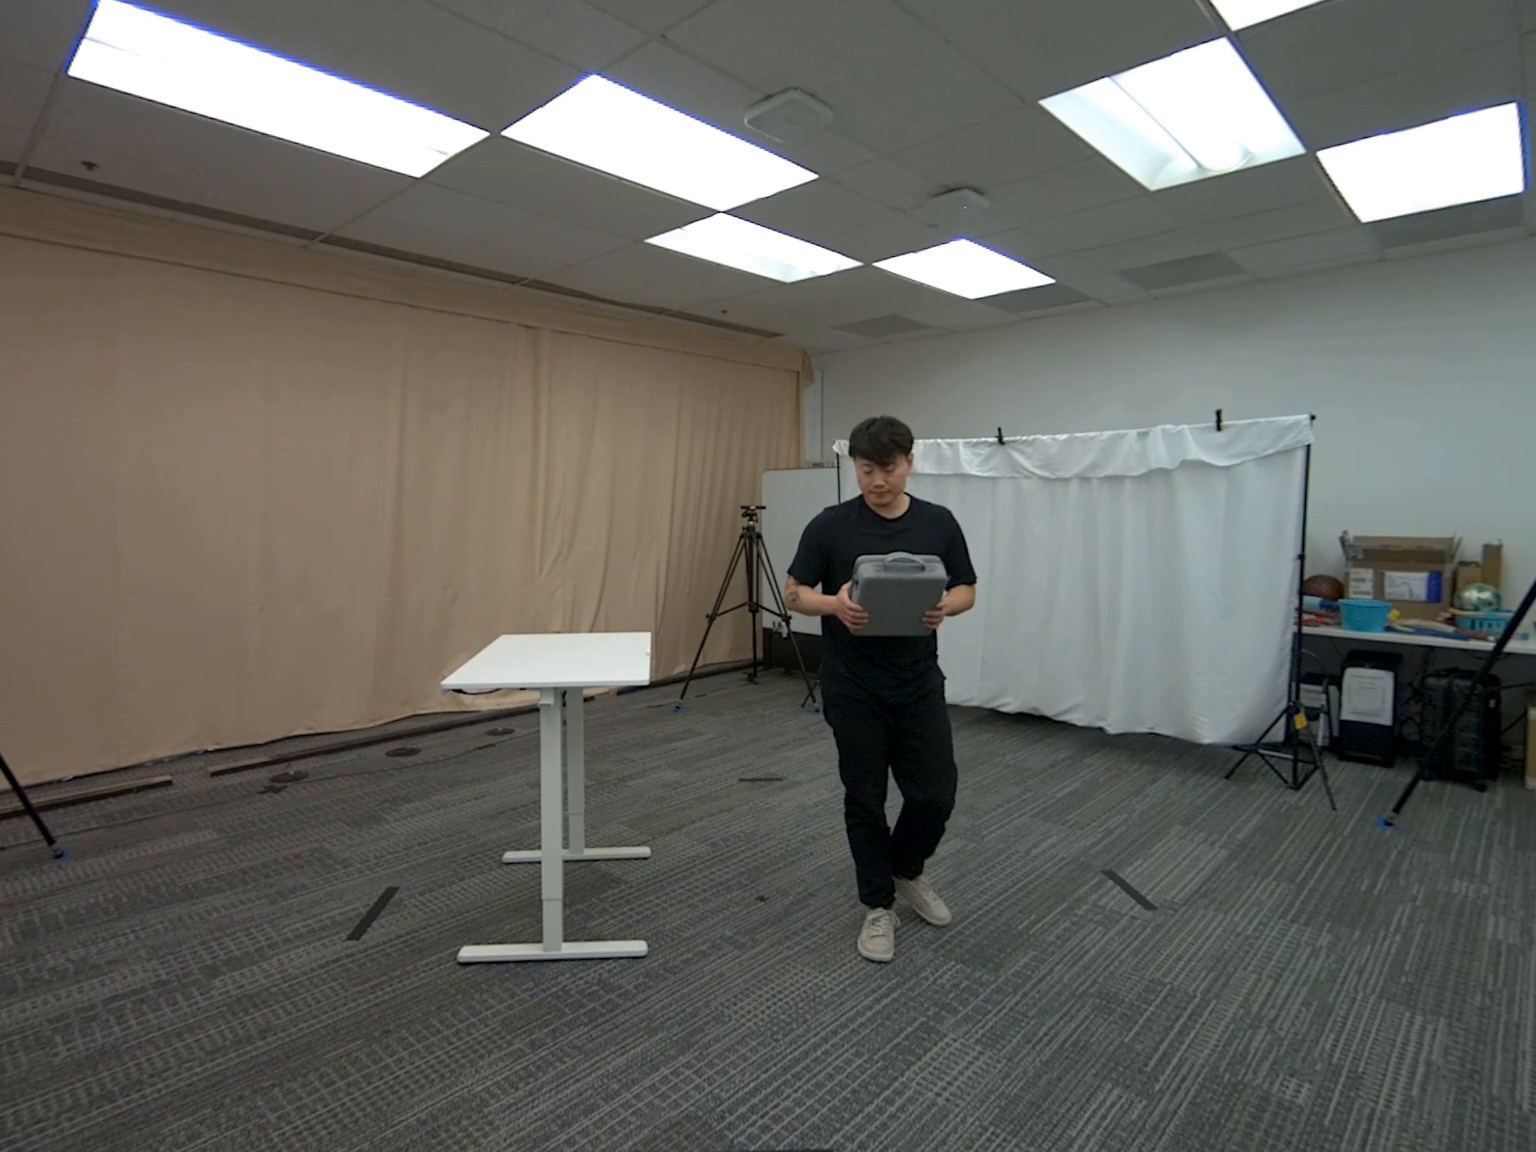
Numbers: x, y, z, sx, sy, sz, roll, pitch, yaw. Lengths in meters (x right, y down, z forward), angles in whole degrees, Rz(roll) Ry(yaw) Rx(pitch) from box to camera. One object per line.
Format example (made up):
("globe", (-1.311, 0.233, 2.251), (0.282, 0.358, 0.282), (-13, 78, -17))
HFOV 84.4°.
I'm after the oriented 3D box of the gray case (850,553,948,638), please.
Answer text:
("gray case", (0.370, 0.058, 2.442), (0.256, 0.256, 0.106), (2, 42, -3))
